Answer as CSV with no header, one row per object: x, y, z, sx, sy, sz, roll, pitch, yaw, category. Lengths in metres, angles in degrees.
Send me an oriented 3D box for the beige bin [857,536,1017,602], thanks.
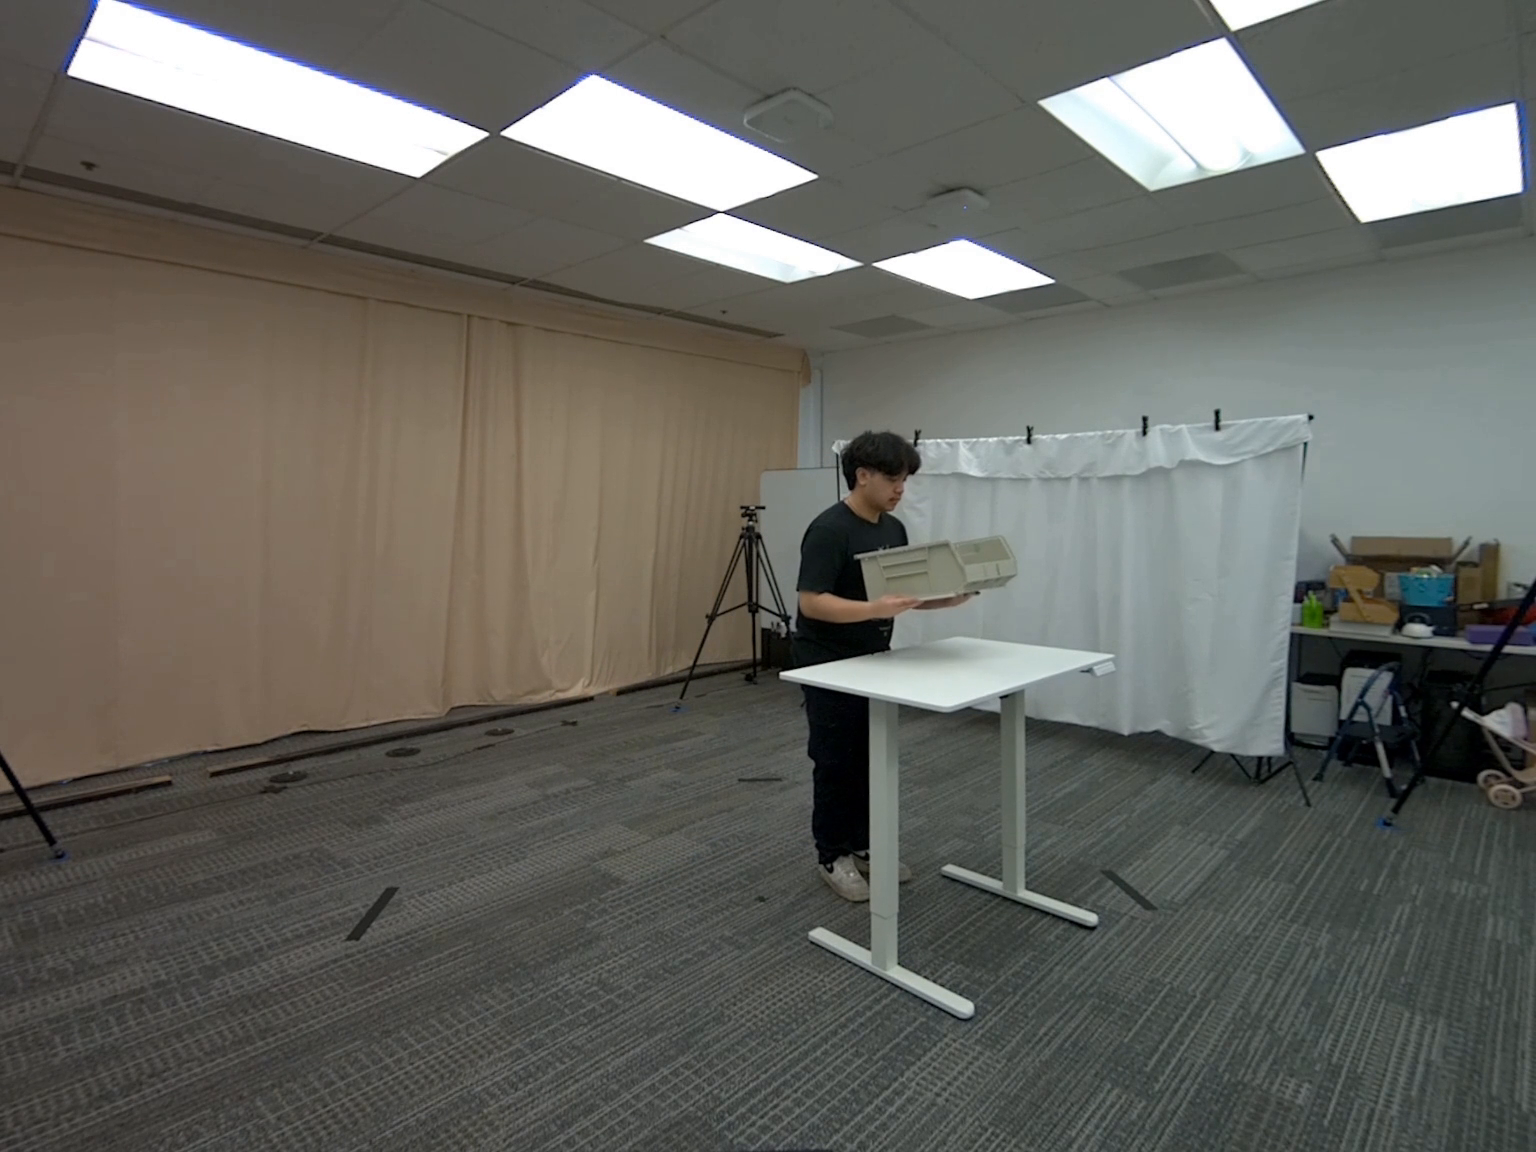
0.585,-0.016,2.840,0.387,0.189,0.410,-11,-3,39,beige bin
